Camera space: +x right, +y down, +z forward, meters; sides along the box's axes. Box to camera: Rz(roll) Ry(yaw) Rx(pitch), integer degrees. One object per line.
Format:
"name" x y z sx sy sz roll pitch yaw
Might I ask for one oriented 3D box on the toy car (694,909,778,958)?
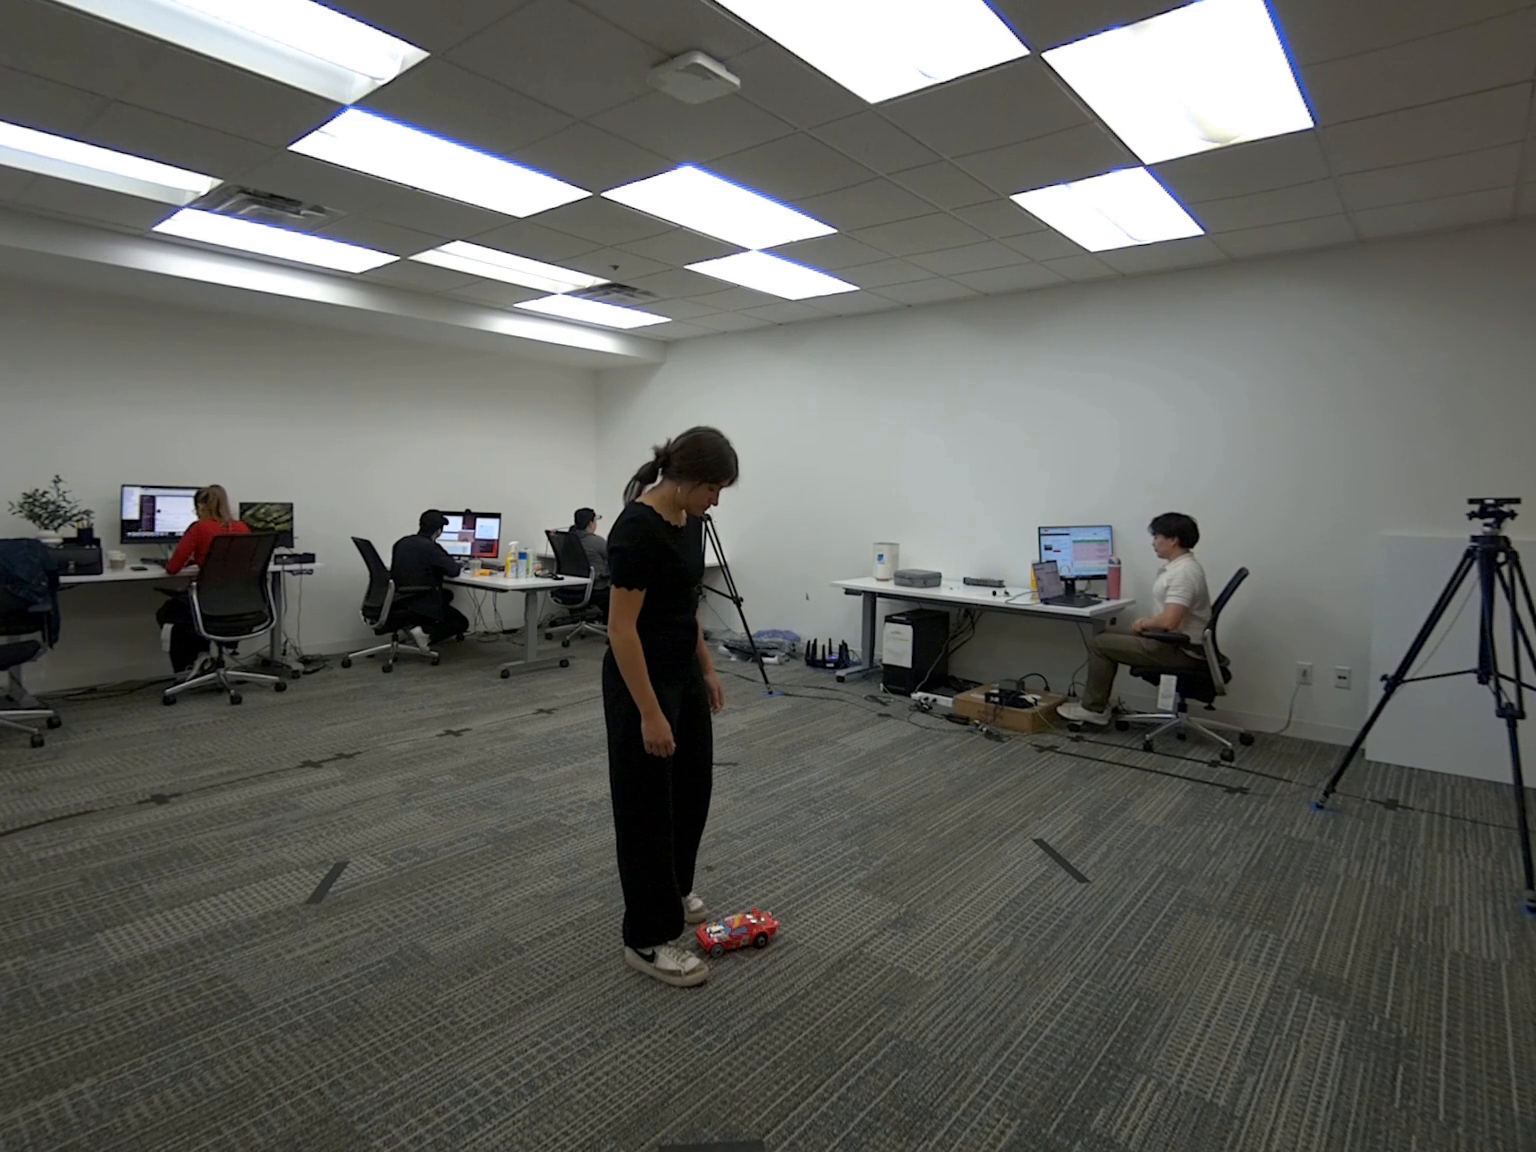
"toy car" -0.092 1.086 2.595 0.250 0.082 0.134 -14 11 -23
